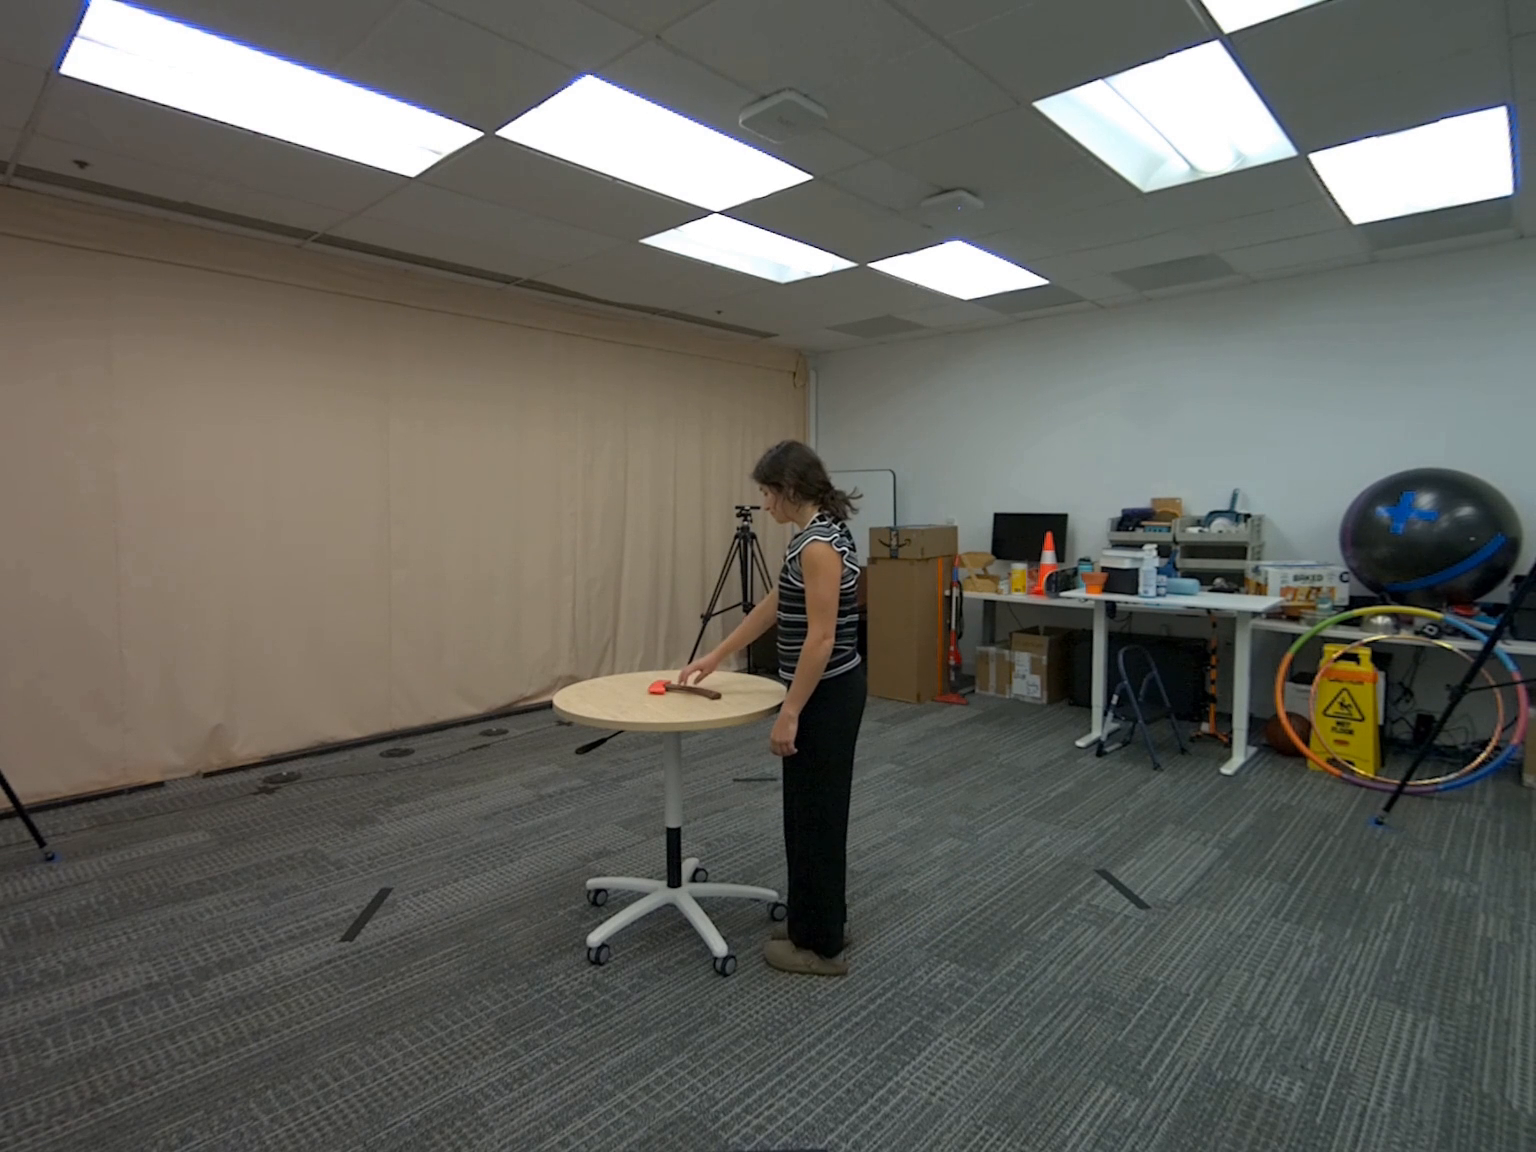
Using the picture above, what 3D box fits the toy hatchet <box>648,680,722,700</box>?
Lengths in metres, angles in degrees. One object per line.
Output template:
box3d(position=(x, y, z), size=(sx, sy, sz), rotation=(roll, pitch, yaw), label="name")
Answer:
box3d(position=(-0.275, 0.374, 2.707), size=(0.127, 0.029, 0.279), rotation=(-7, 9, -42), label="toy hatchet")
